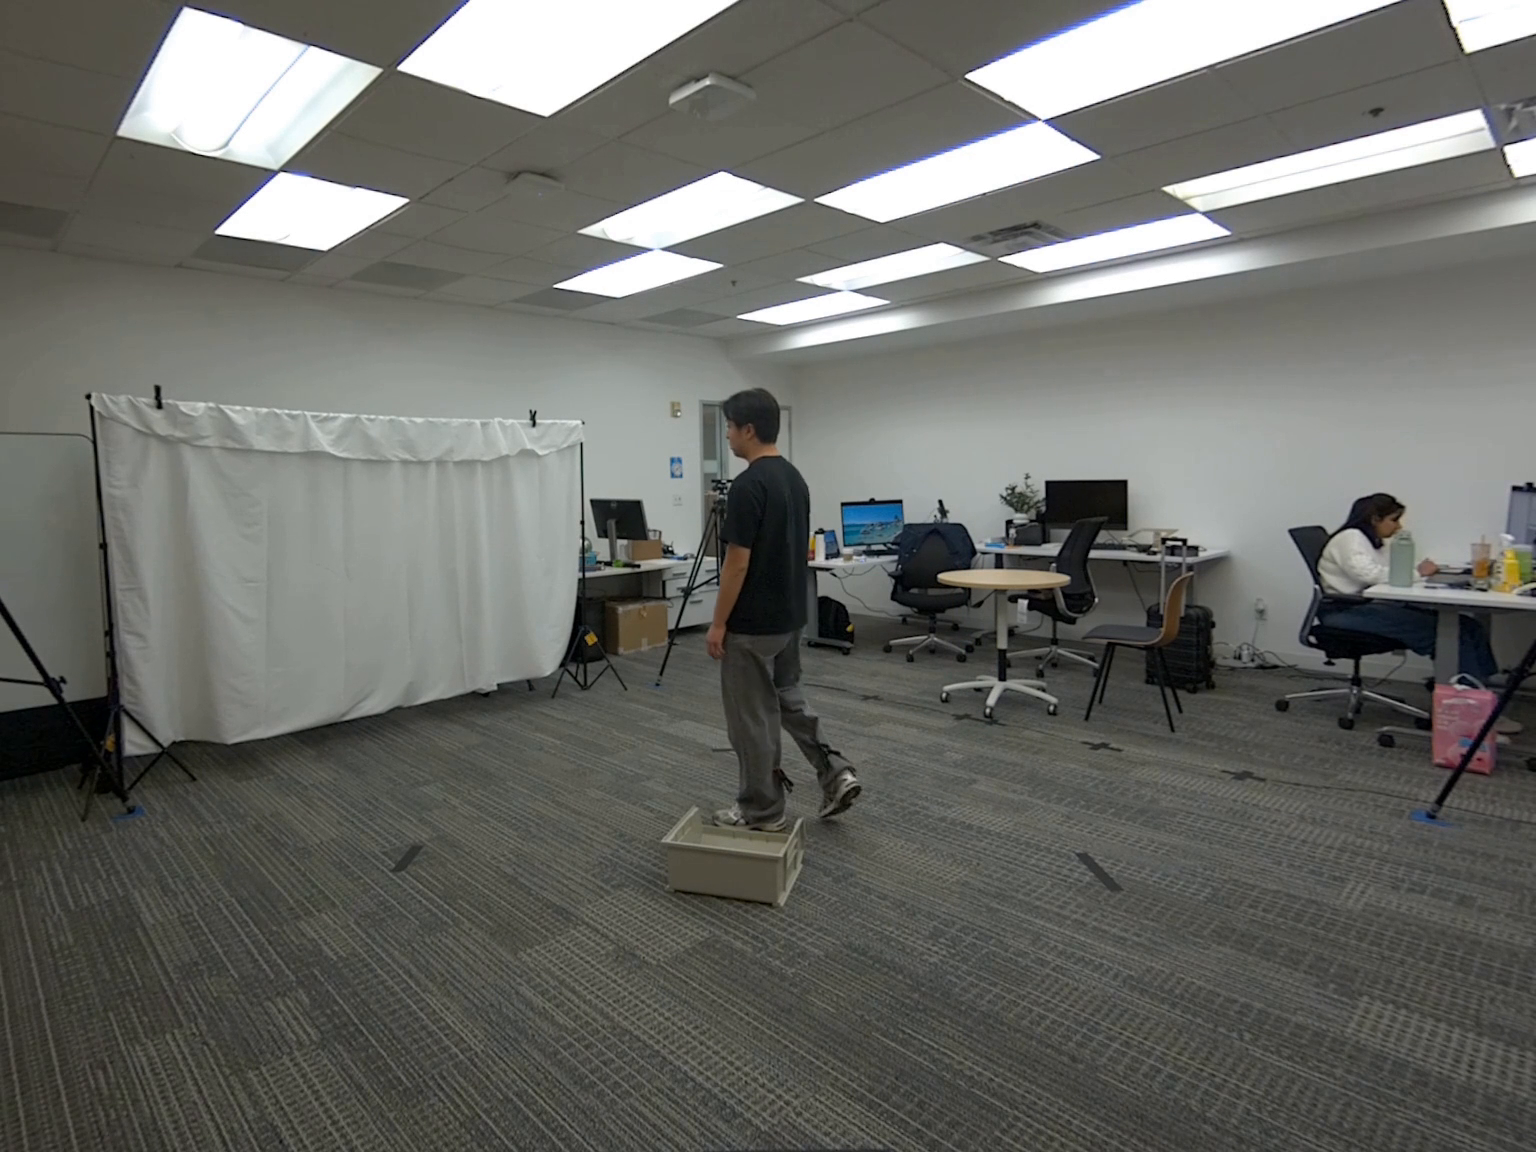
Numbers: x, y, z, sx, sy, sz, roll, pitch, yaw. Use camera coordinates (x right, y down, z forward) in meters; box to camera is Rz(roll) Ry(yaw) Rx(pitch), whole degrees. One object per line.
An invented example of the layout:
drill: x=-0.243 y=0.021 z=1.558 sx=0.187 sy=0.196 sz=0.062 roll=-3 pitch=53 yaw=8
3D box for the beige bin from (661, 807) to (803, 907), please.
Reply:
beige bin: x=-0.111 y=0.973 z=3.006 sx=0.429 sy=0.188 sz=0.373 roll=1 pitch=7 yaw=16
